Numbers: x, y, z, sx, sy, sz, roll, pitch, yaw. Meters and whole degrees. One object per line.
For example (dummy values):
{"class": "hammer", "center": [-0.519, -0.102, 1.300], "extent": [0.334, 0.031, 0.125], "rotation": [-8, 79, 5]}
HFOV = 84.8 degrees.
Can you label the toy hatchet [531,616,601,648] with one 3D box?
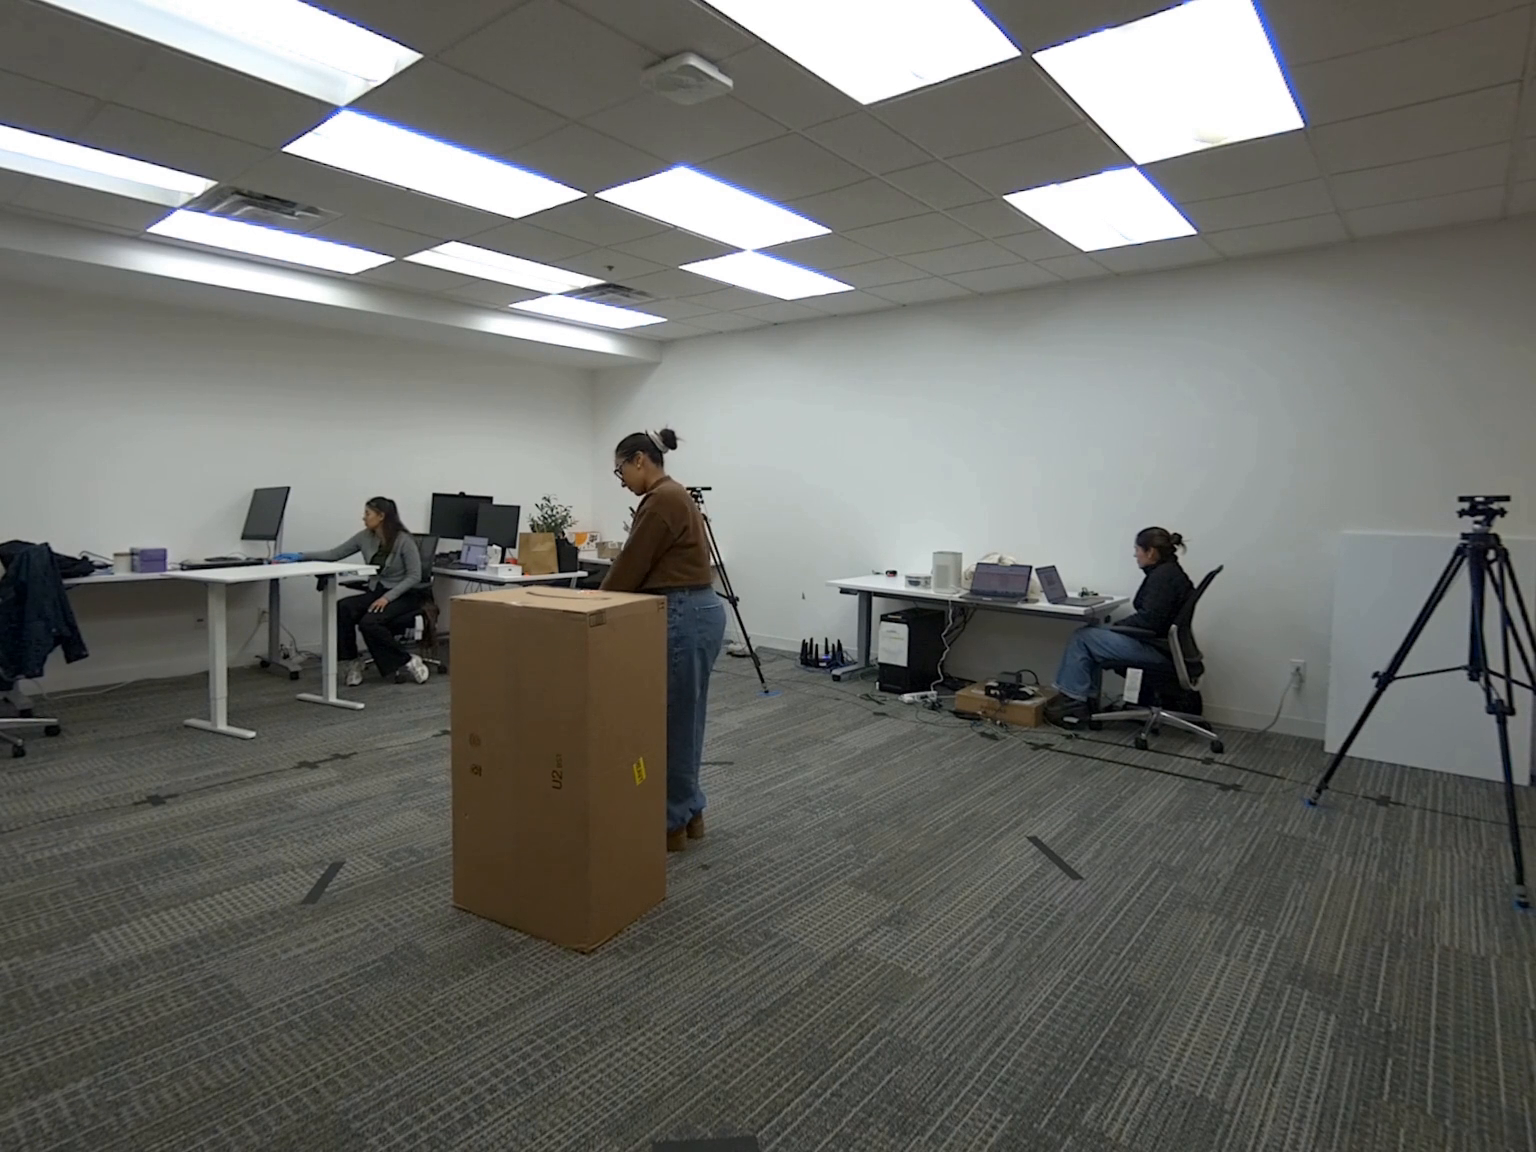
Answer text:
{"class": "toy hatchet", "center": [-0.816, 0.223, 3.380], "extent": [0.275, 0.029, 0.129], "rotation": [-17, 6, 36]}
